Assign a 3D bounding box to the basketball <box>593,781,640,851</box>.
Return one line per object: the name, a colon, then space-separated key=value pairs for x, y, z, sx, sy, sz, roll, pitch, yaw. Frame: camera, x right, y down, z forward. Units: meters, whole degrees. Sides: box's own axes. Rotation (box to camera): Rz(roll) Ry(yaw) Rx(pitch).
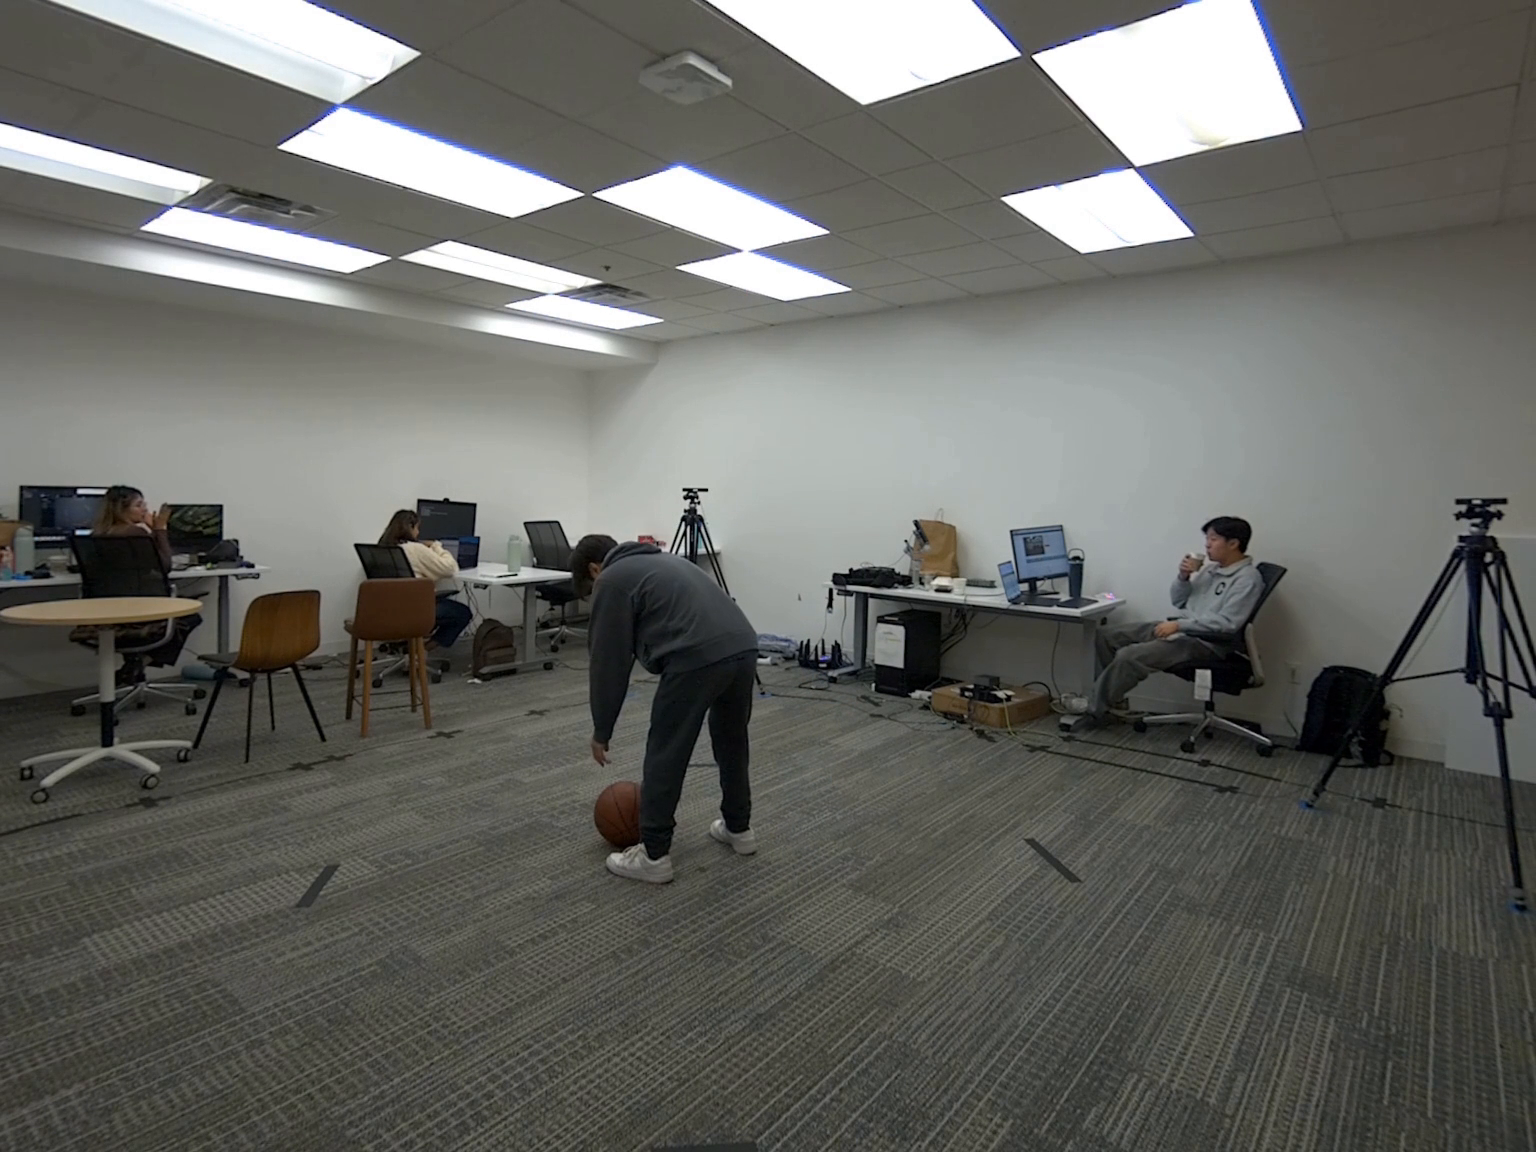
basketball: x=-0.574 y=0.922 z=3.323 sx=0.235 sy=0.235 sz=0.237 roll=1 pitch=4 yaw=-2
